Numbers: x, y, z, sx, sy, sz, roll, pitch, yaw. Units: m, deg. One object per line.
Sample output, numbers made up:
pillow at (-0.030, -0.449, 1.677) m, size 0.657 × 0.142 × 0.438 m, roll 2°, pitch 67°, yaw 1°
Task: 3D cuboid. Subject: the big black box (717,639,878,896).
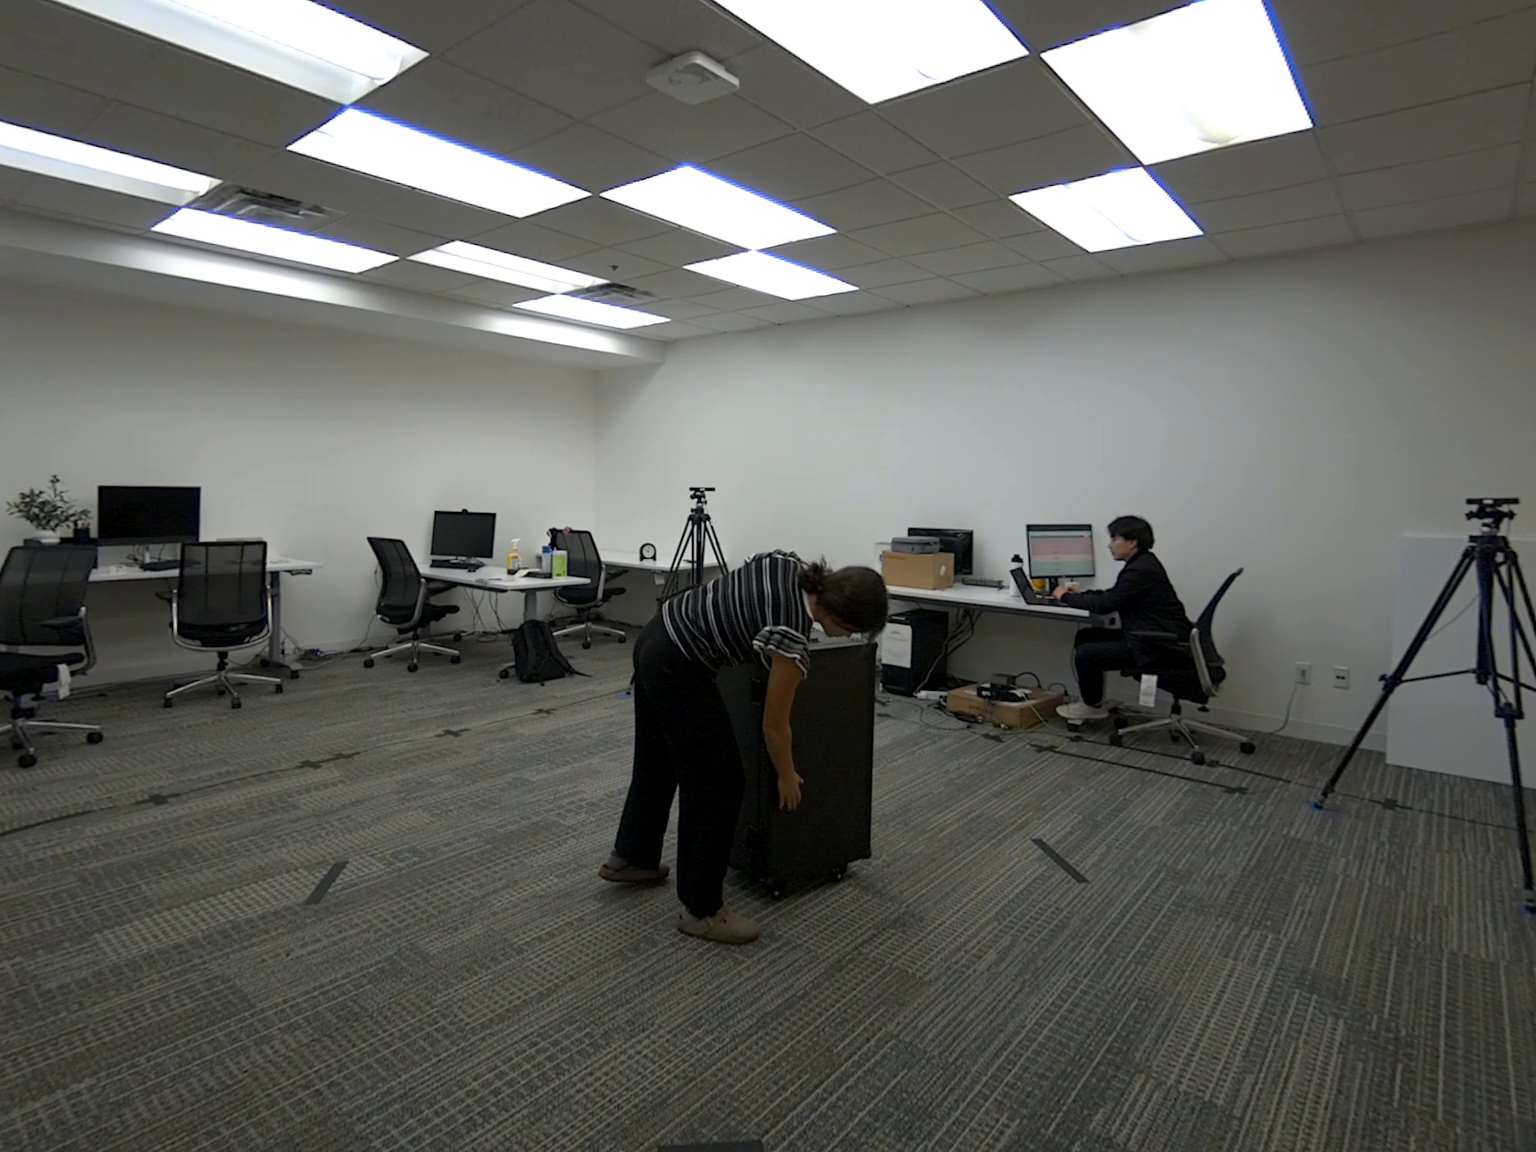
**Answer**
big black box at (0.058, 0.655, 3.073) m, size 0.506 × 0.860 × 0.409 m, roll -1°, pitch 3°, yaw -34°
